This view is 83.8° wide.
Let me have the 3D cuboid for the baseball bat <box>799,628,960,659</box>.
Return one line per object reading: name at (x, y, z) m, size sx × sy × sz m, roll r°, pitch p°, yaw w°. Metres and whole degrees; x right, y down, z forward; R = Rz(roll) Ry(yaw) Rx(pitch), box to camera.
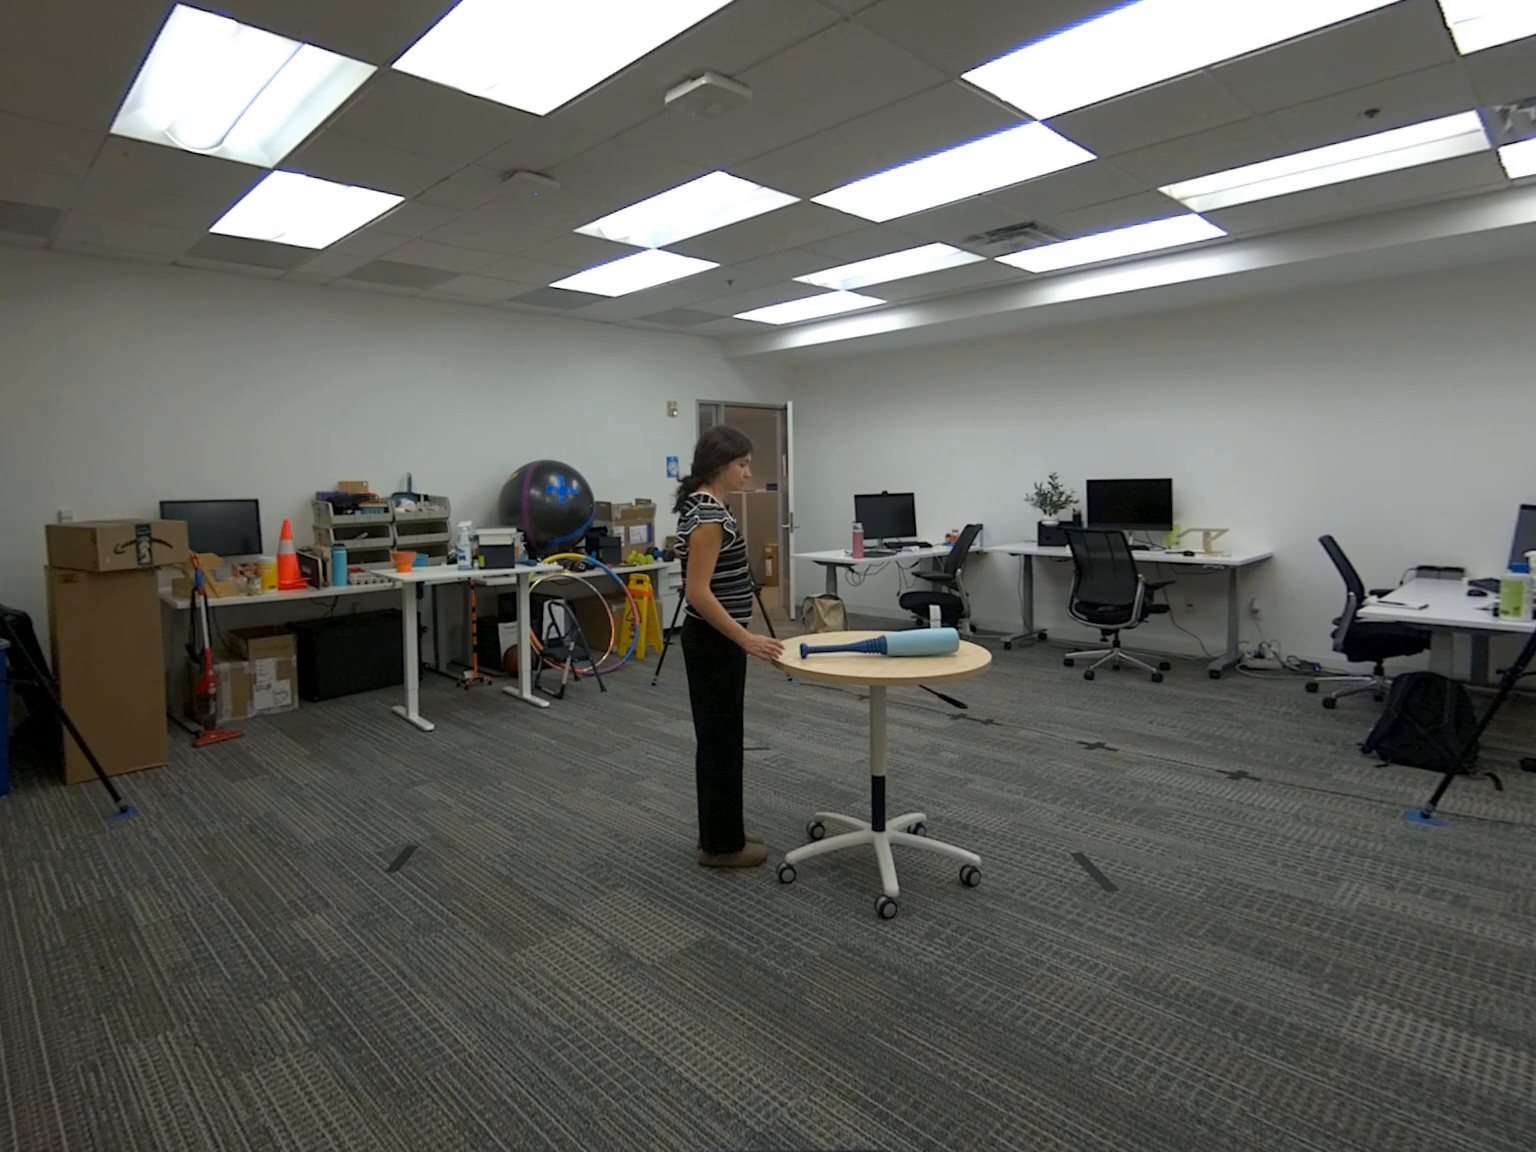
baseball bat at (0.375, 0.238, 2.915) m, size 0.541 × 0.089 × 0.090 m, roll -4°, pitch 5°, yaw -4°
